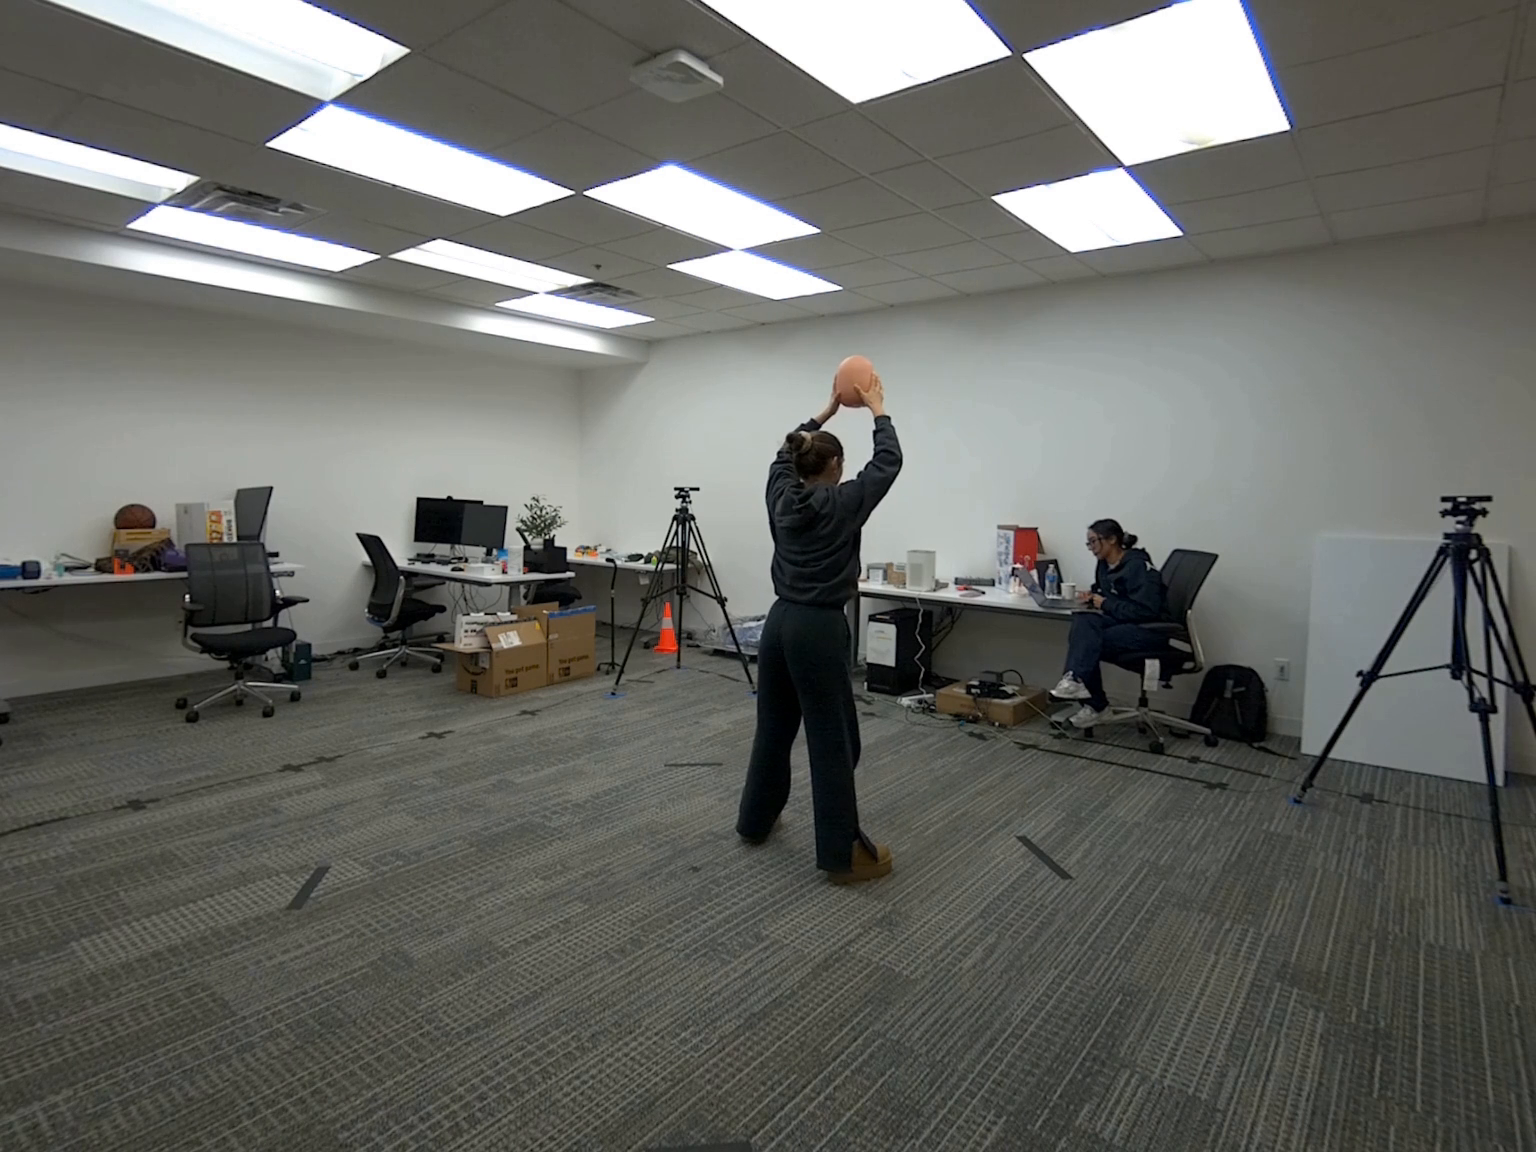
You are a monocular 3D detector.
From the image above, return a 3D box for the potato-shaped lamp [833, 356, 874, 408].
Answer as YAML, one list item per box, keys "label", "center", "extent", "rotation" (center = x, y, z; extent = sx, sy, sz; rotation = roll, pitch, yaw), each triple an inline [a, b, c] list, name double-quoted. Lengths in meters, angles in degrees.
- label: "potato-shaped lamp"
  center: [0.350, -0.769, 3.344]
  extent: [0.166, 0.198, 0.170]
  rotation: [-4, 3, -44]
